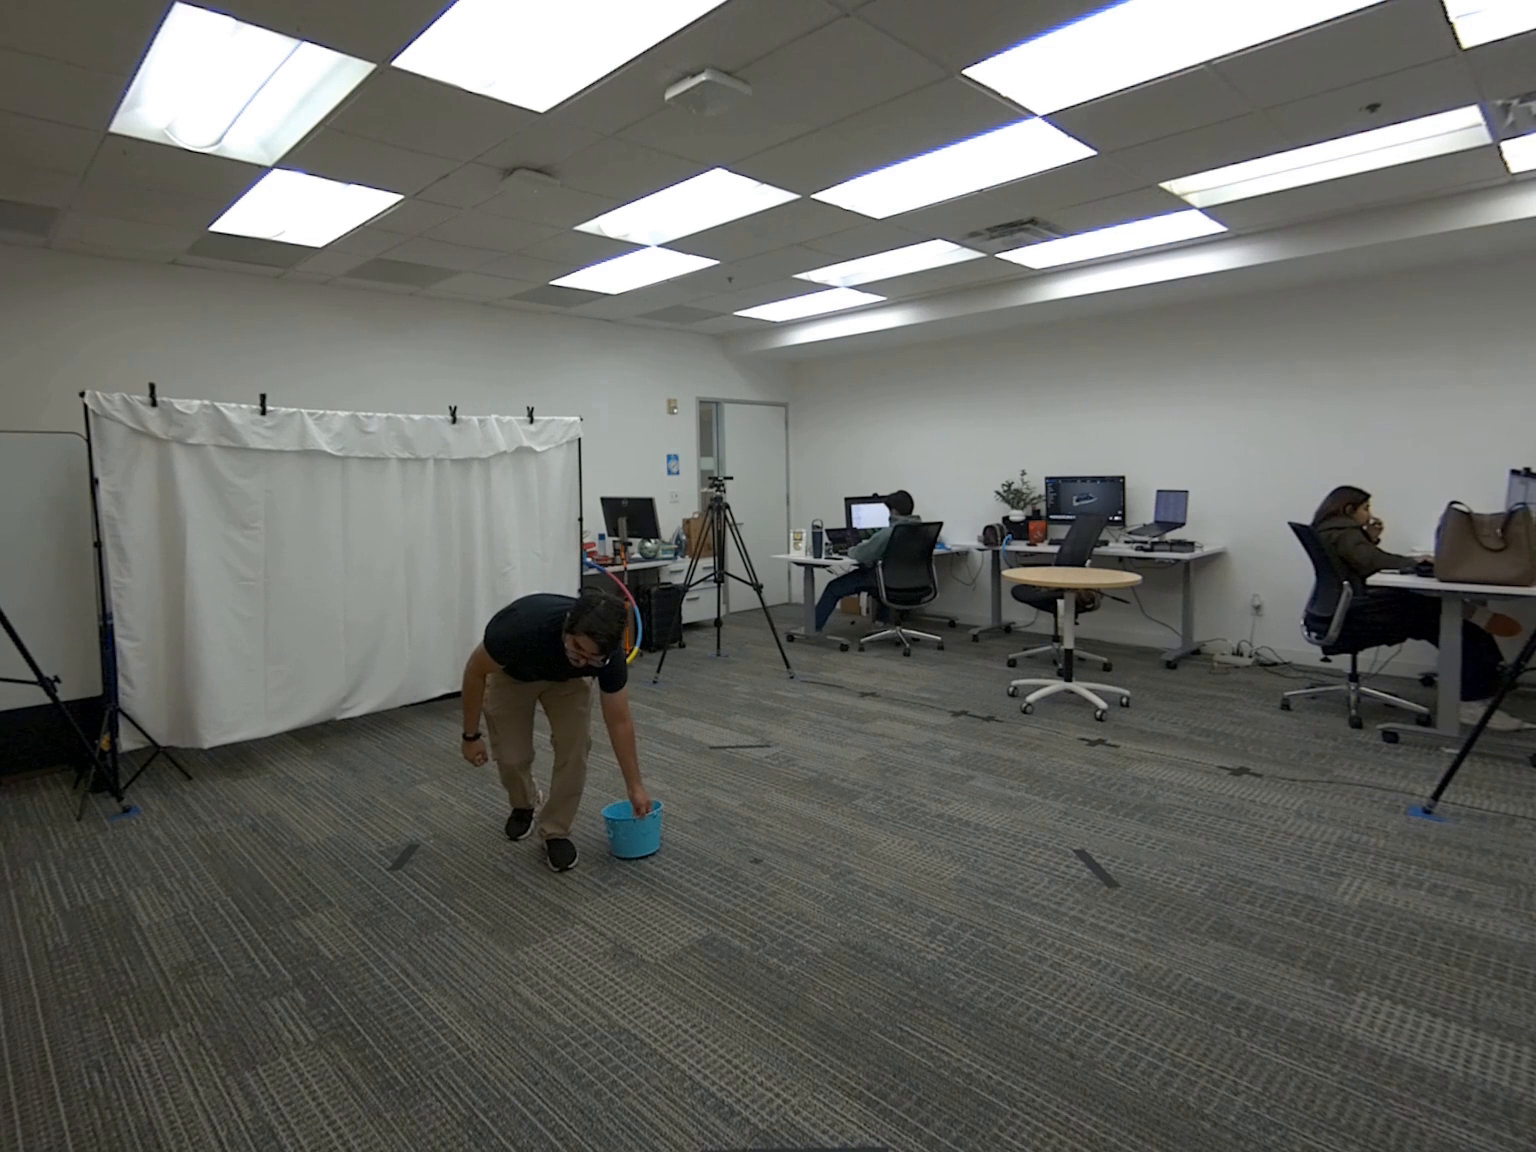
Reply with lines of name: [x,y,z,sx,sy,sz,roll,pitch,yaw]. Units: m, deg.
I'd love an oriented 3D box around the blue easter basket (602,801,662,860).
blue easter basket: [-0.502,0.947,3.215,0.243,0.156,0.244,-5,2,-2]
